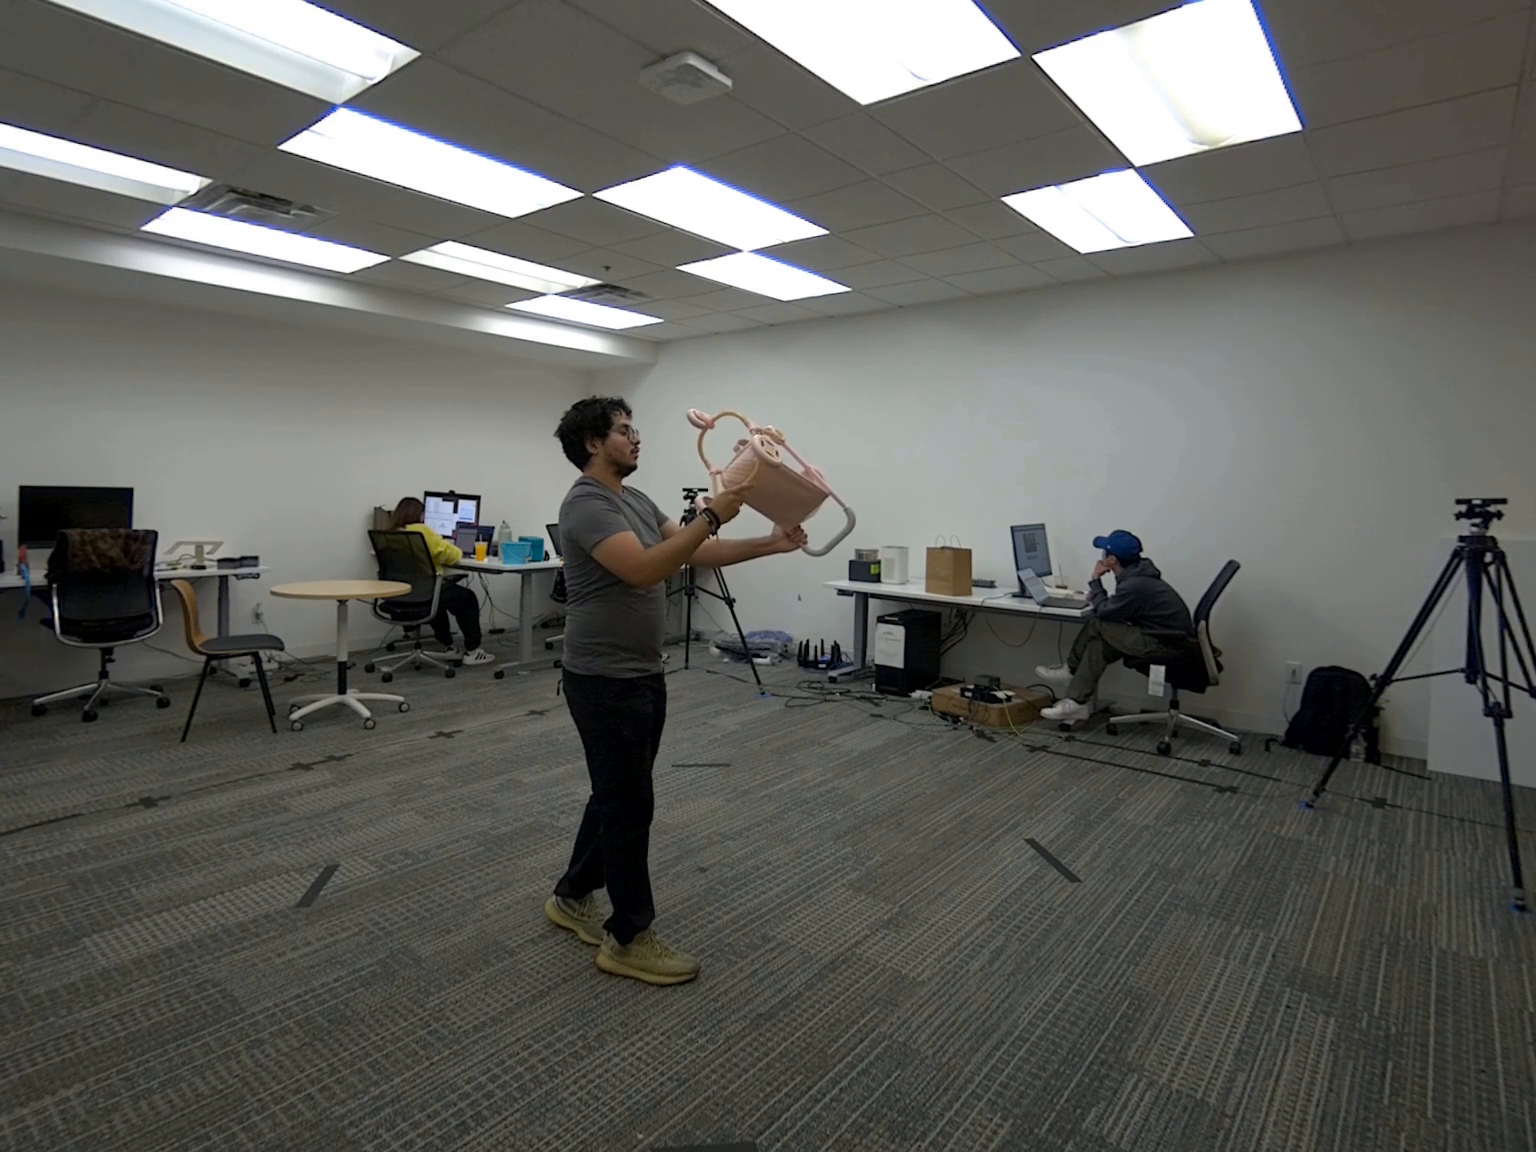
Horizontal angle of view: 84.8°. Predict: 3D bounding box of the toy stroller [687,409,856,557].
[{"bbox_3d":[-0.020,-0.303,2.558,0.515,0.281,0.354,23,31,-35],"label":"toy stroller"}]
